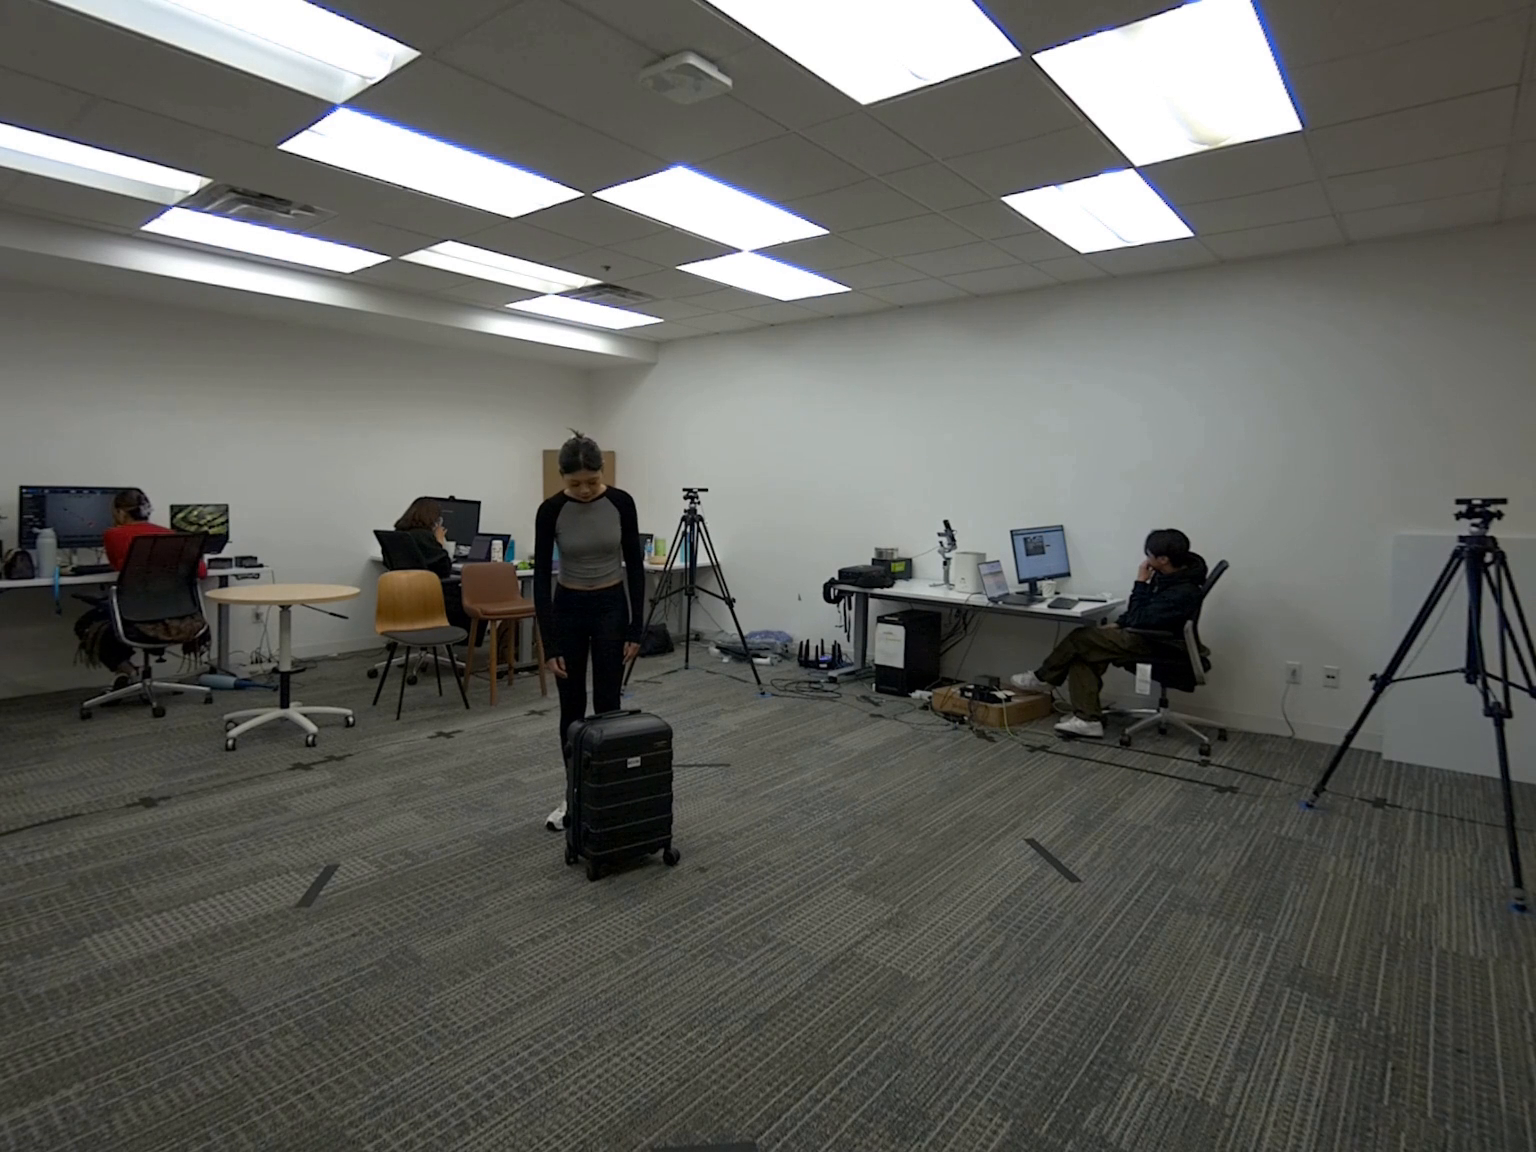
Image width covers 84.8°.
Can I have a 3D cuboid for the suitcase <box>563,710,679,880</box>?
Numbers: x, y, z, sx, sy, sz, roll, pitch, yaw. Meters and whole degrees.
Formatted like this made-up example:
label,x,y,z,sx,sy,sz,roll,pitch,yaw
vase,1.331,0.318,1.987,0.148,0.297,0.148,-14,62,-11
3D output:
label,x,y,z,sx,sy,sz,roll,pitch,yaw
suitcase,-0.555,0.780,3.154,0.364,0.548,0.256,0,3,-35
